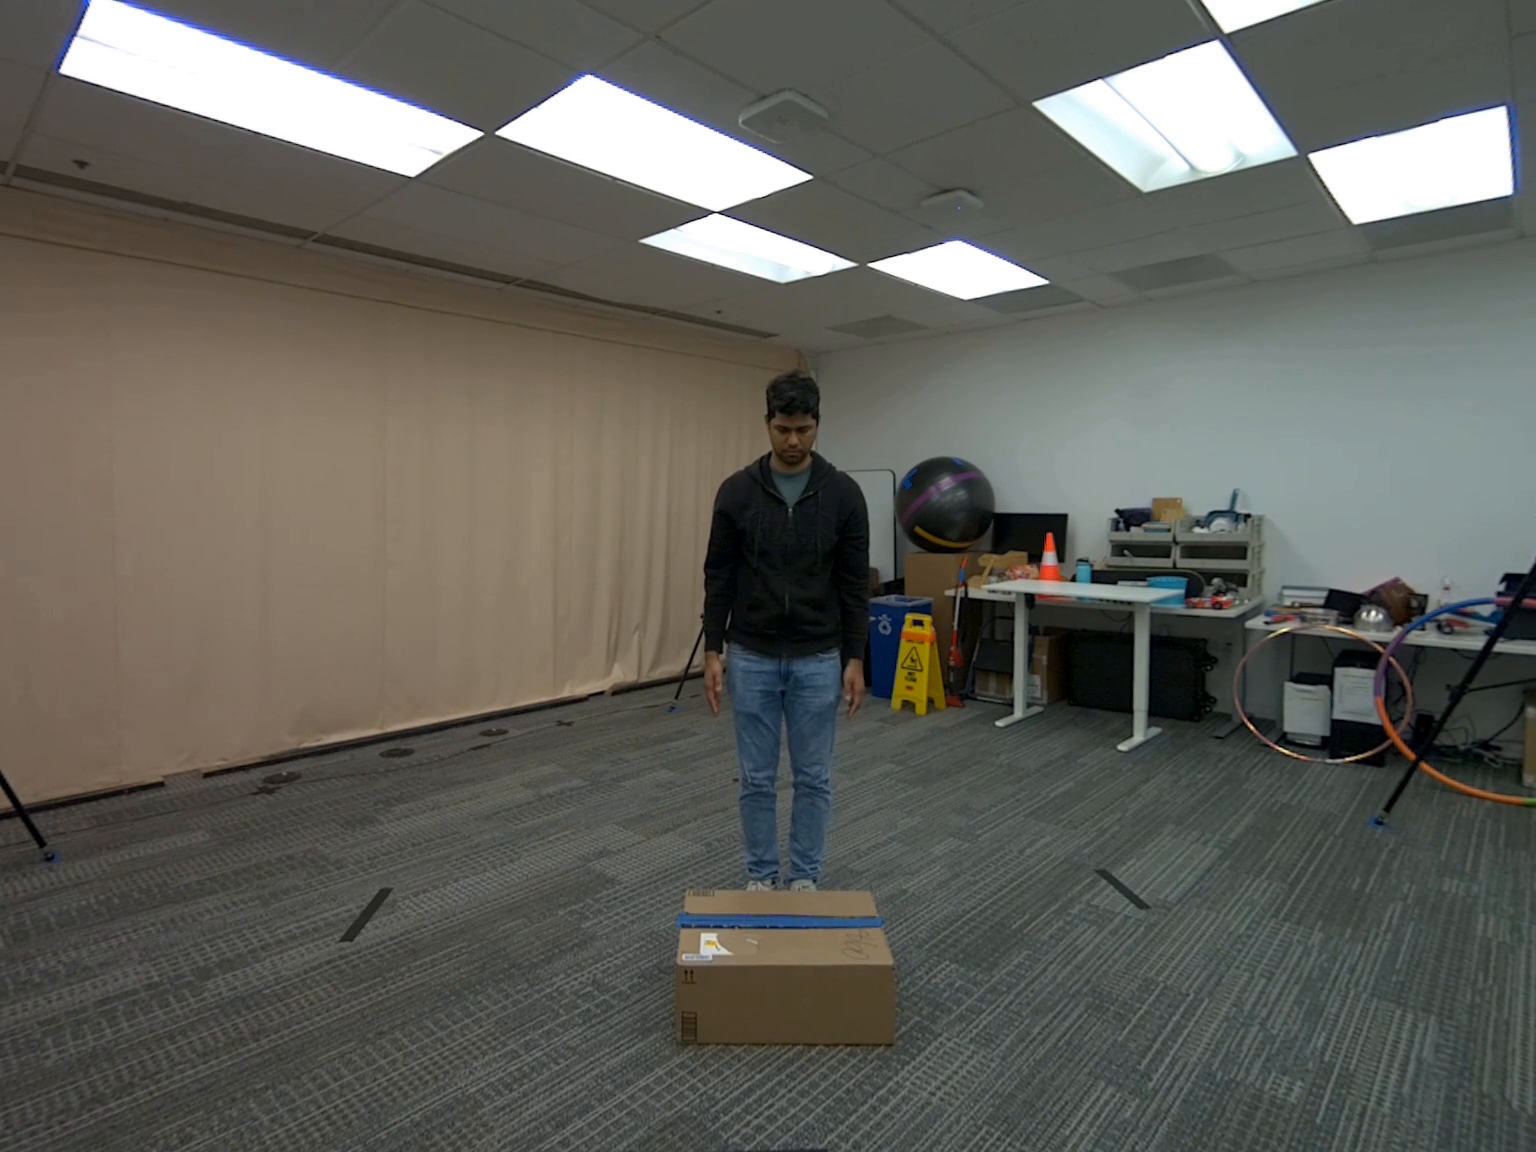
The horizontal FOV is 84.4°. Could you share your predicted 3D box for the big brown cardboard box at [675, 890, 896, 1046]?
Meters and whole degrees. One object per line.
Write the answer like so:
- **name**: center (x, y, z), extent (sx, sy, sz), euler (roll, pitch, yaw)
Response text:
- **big brown cardboard box**: center (0.037, 1.083, 2.371), extent (0.589, 0.232, 0.418), euler (1, 4, -1)
